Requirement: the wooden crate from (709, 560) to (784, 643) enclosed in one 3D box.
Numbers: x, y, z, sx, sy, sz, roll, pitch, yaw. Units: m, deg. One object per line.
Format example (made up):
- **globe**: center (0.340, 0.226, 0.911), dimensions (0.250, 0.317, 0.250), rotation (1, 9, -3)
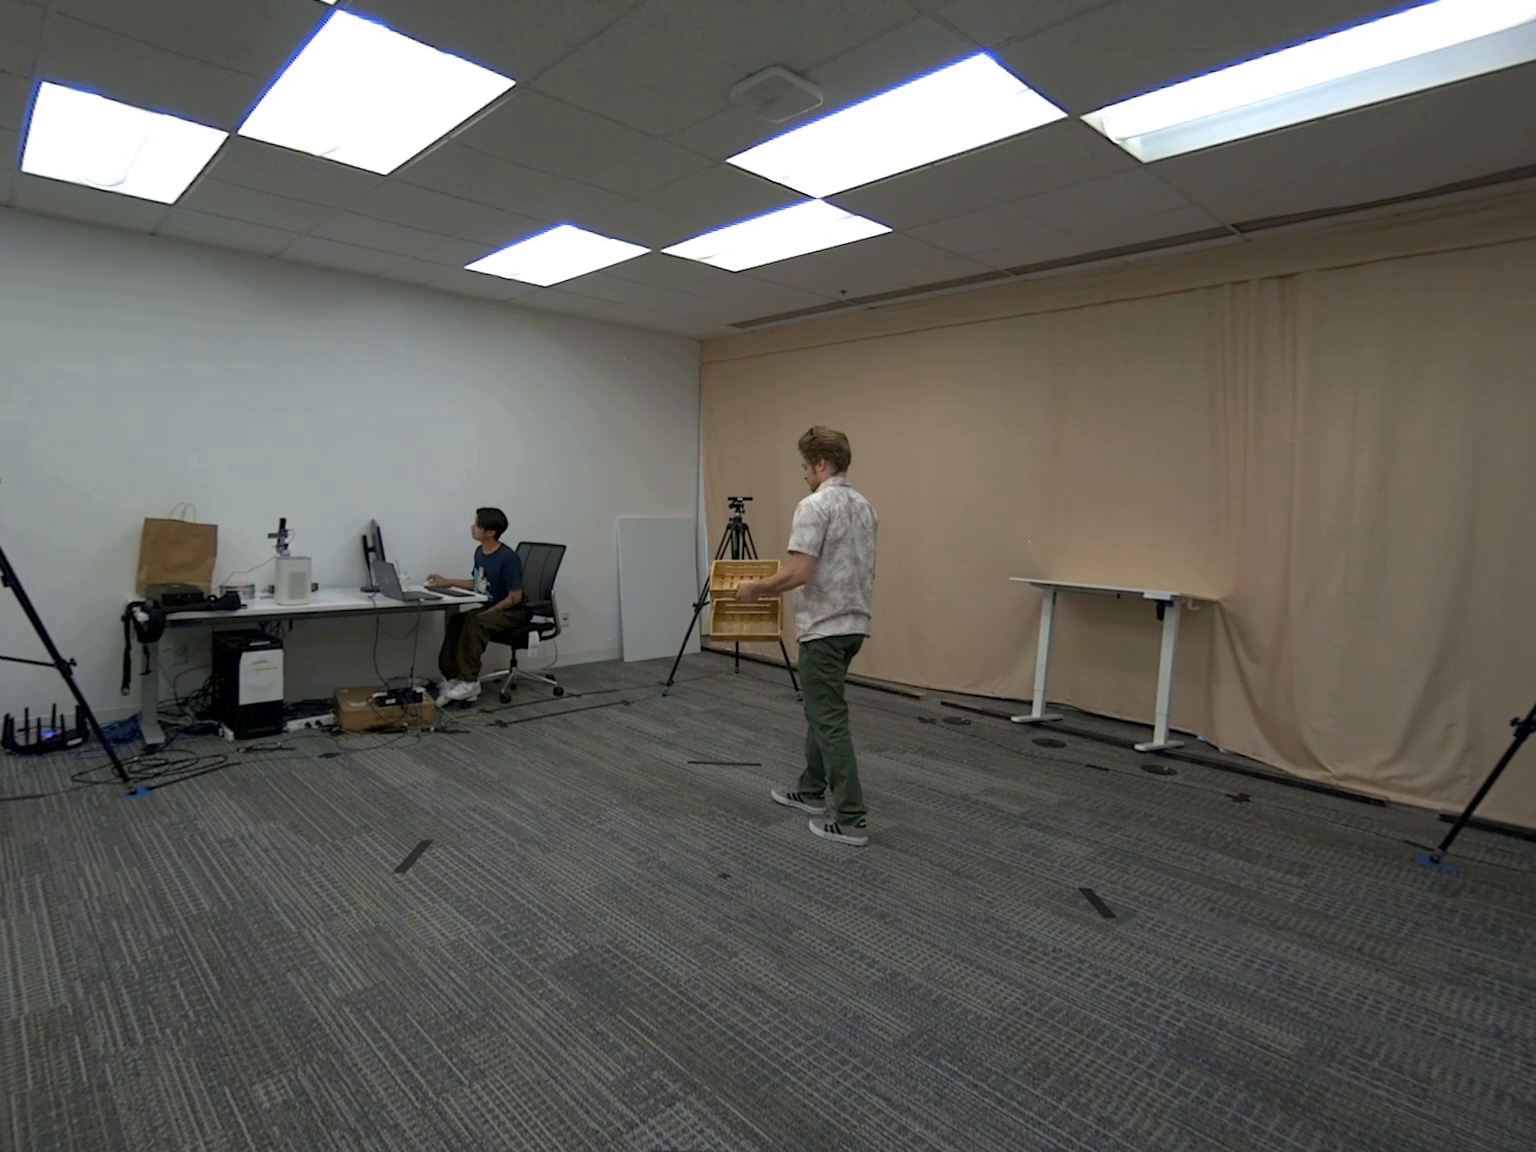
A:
- **wooden crate**: center (-0.104, 0.105, 3.657), dimensions (0.325, 0.269, 0.306), rotation (0, 23, 3)
